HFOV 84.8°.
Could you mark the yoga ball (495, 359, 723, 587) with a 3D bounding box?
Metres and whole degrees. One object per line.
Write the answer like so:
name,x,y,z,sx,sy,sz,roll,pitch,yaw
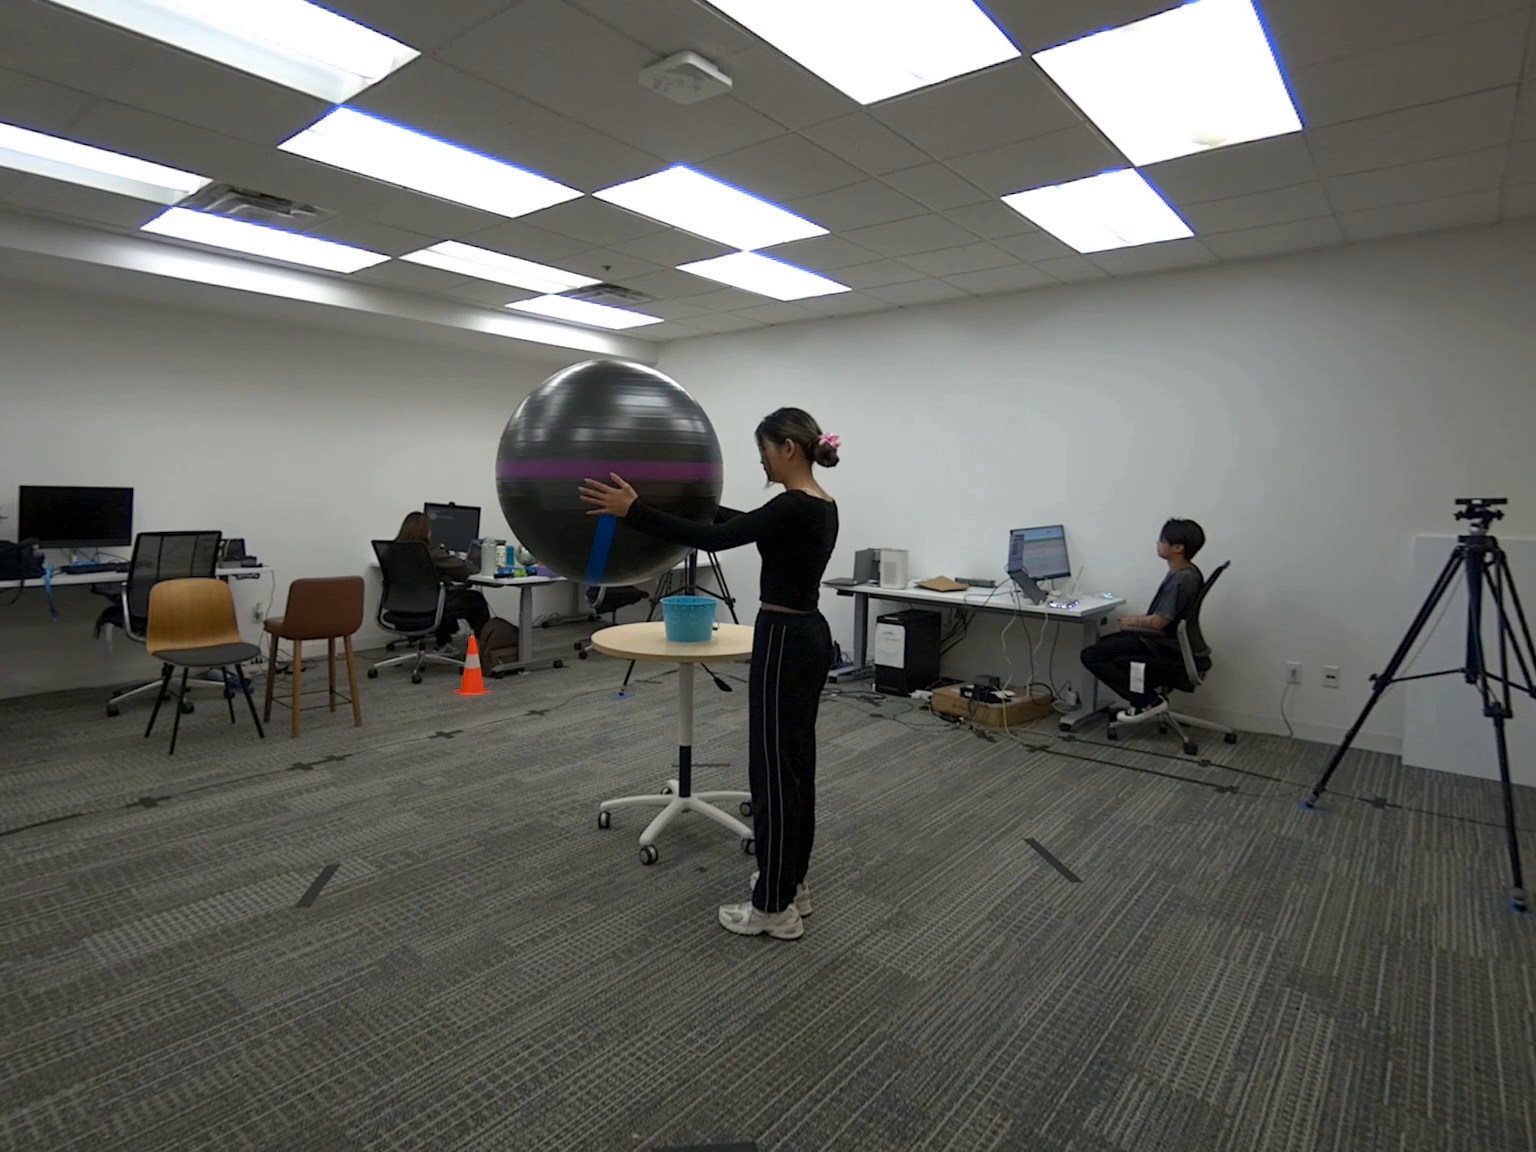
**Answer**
yoga ball,-0.553,-0.345,2.887,0.757,0.756,0.762,1,4,-2
